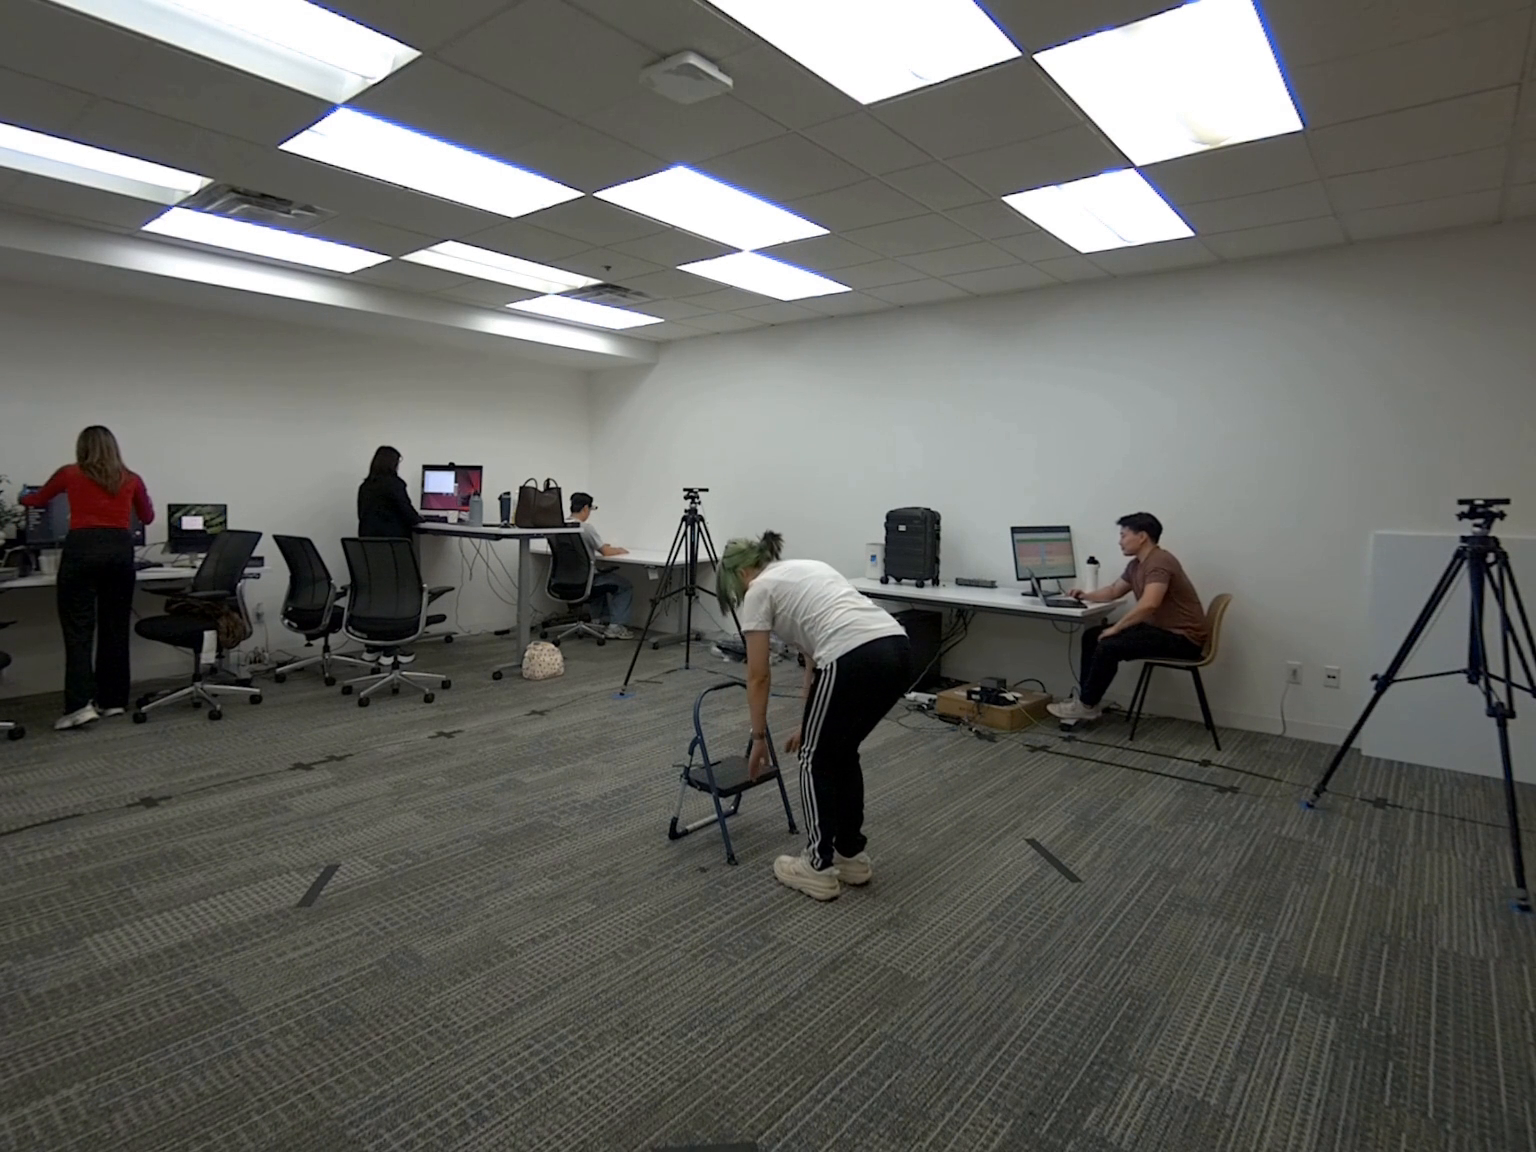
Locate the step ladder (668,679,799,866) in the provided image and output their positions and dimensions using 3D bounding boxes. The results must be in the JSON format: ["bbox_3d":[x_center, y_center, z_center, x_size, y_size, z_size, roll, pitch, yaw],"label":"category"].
[{"bbox_3d":[-0.141,0.739,3.400,0.361,0.604,0.418,4,4,38],"label":"step ladder"}]
